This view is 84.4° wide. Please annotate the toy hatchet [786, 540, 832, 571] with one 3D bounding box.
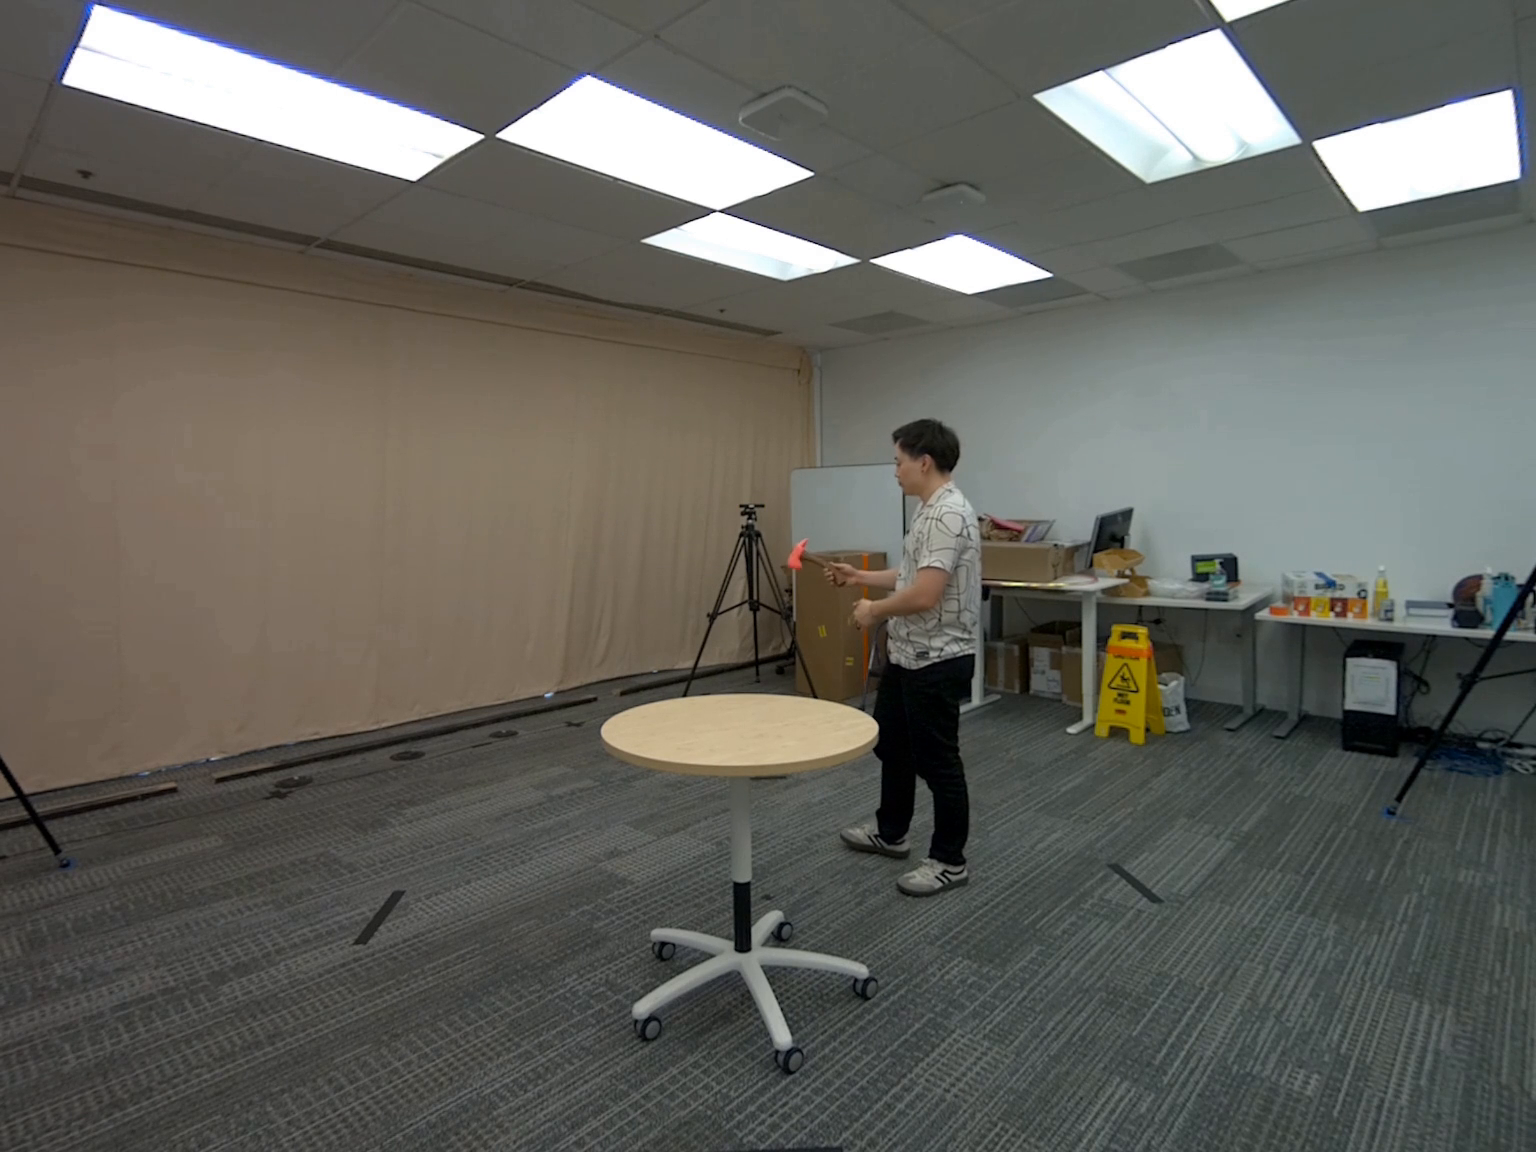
[{"bbox_3d":[0.186,-0.031,3.232,0.279,0.131,0.028,44,-6,35],"label":"toy hatchet"}]
